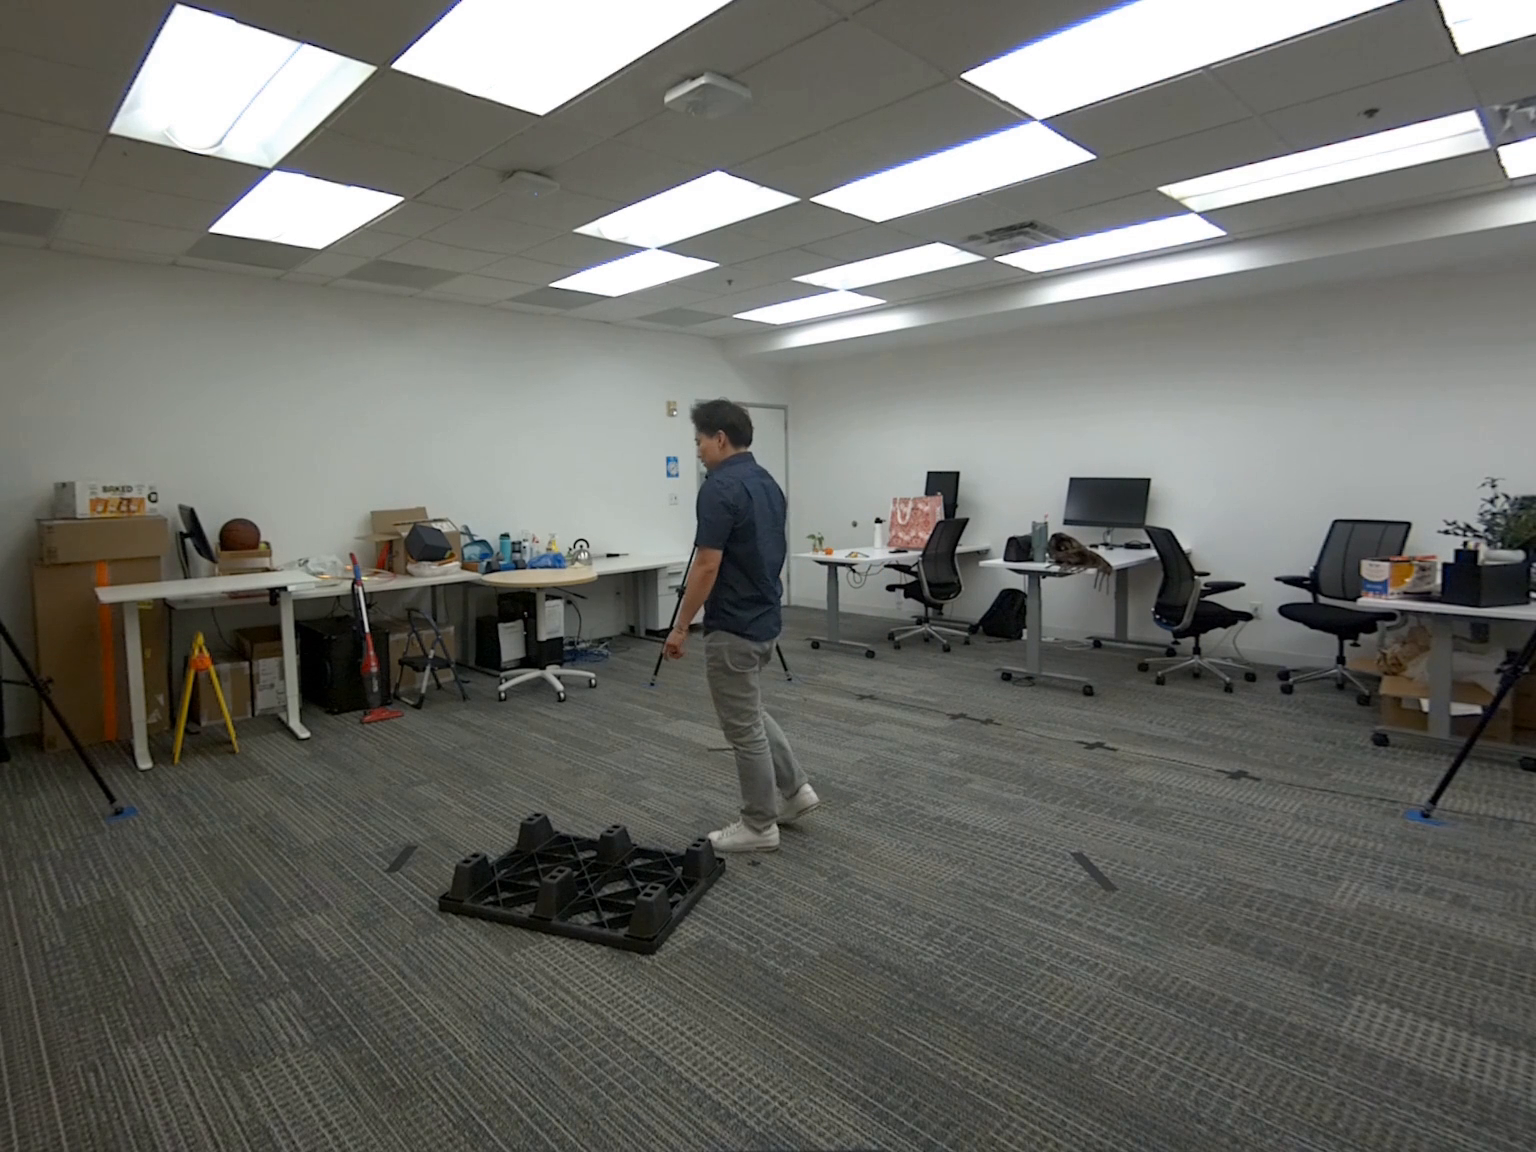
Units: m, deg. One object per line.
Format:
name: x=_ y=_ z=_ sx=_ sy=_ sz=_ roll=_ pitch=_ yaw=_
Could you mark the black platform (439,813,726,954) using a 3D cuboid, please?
black platform: x=-0.621 y=1.011 z=2.929 sx=0.822 sy=0.143 sz=0.596 roll=1 pitch=7 yaw=21
